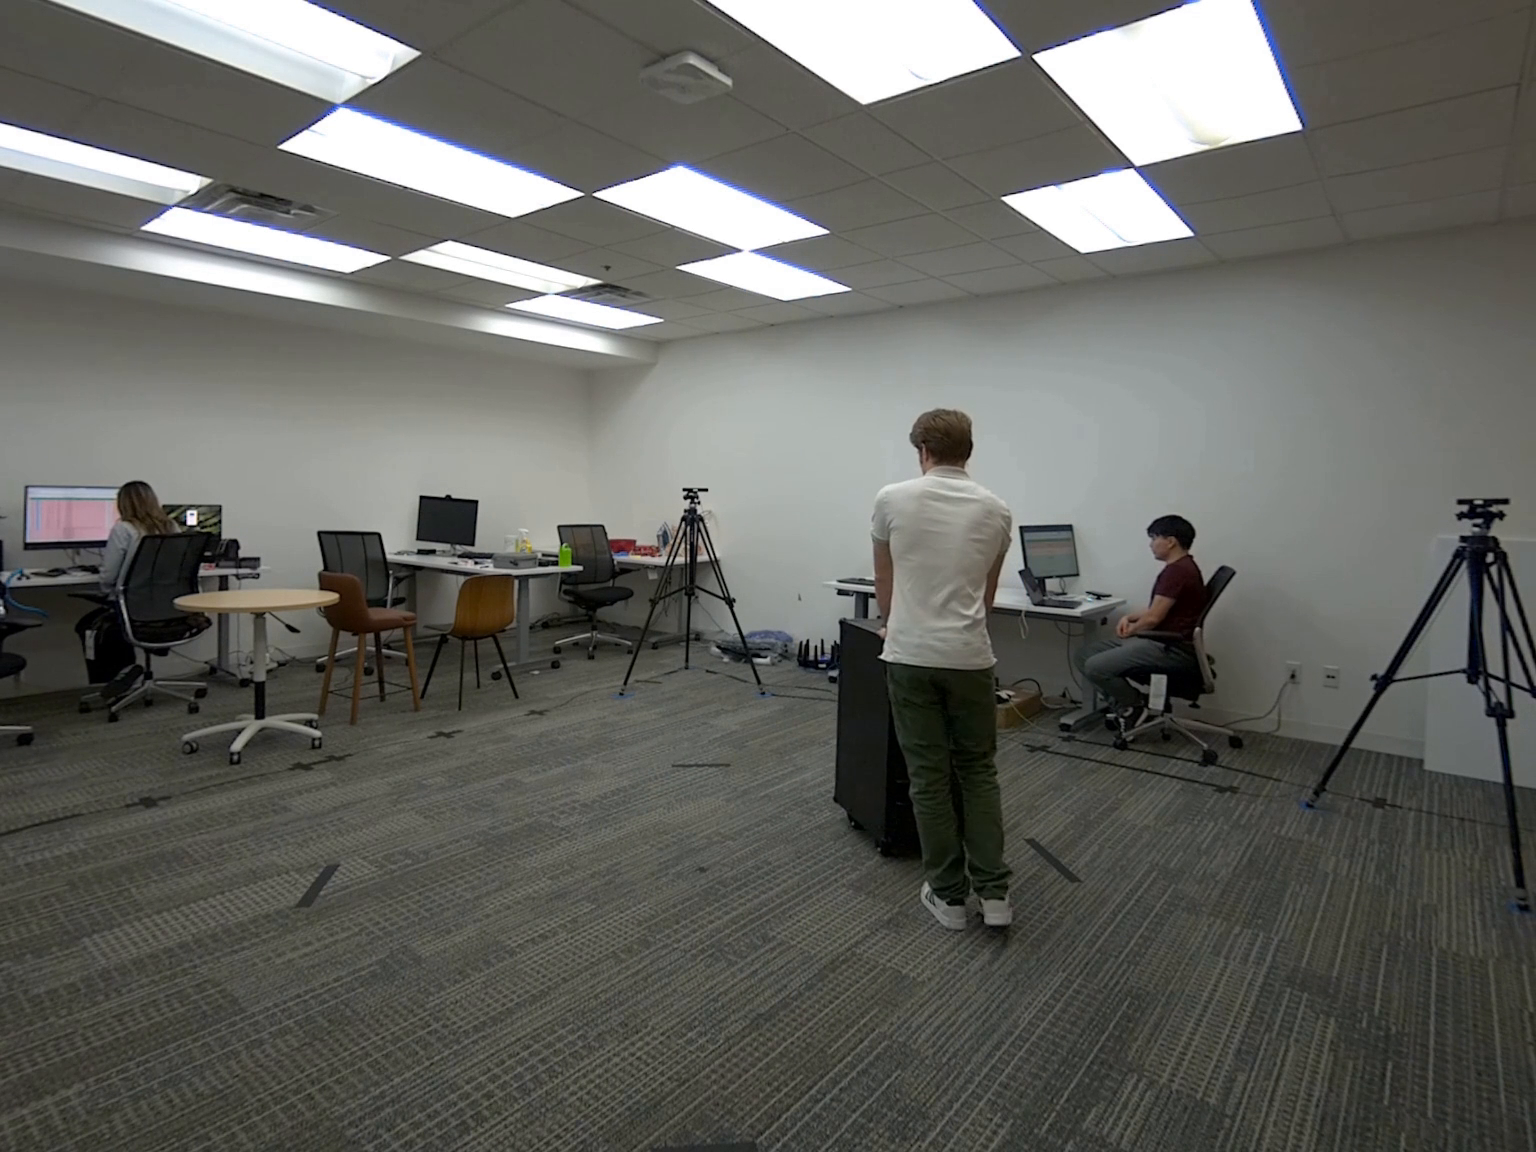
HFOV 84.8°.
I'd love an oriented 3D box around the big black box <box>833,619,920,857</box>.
[{"bbox_3d":[0.527,0.634,3.442,0.378,0.865,0.535,0,5,-18],"label":"big black box"}]
